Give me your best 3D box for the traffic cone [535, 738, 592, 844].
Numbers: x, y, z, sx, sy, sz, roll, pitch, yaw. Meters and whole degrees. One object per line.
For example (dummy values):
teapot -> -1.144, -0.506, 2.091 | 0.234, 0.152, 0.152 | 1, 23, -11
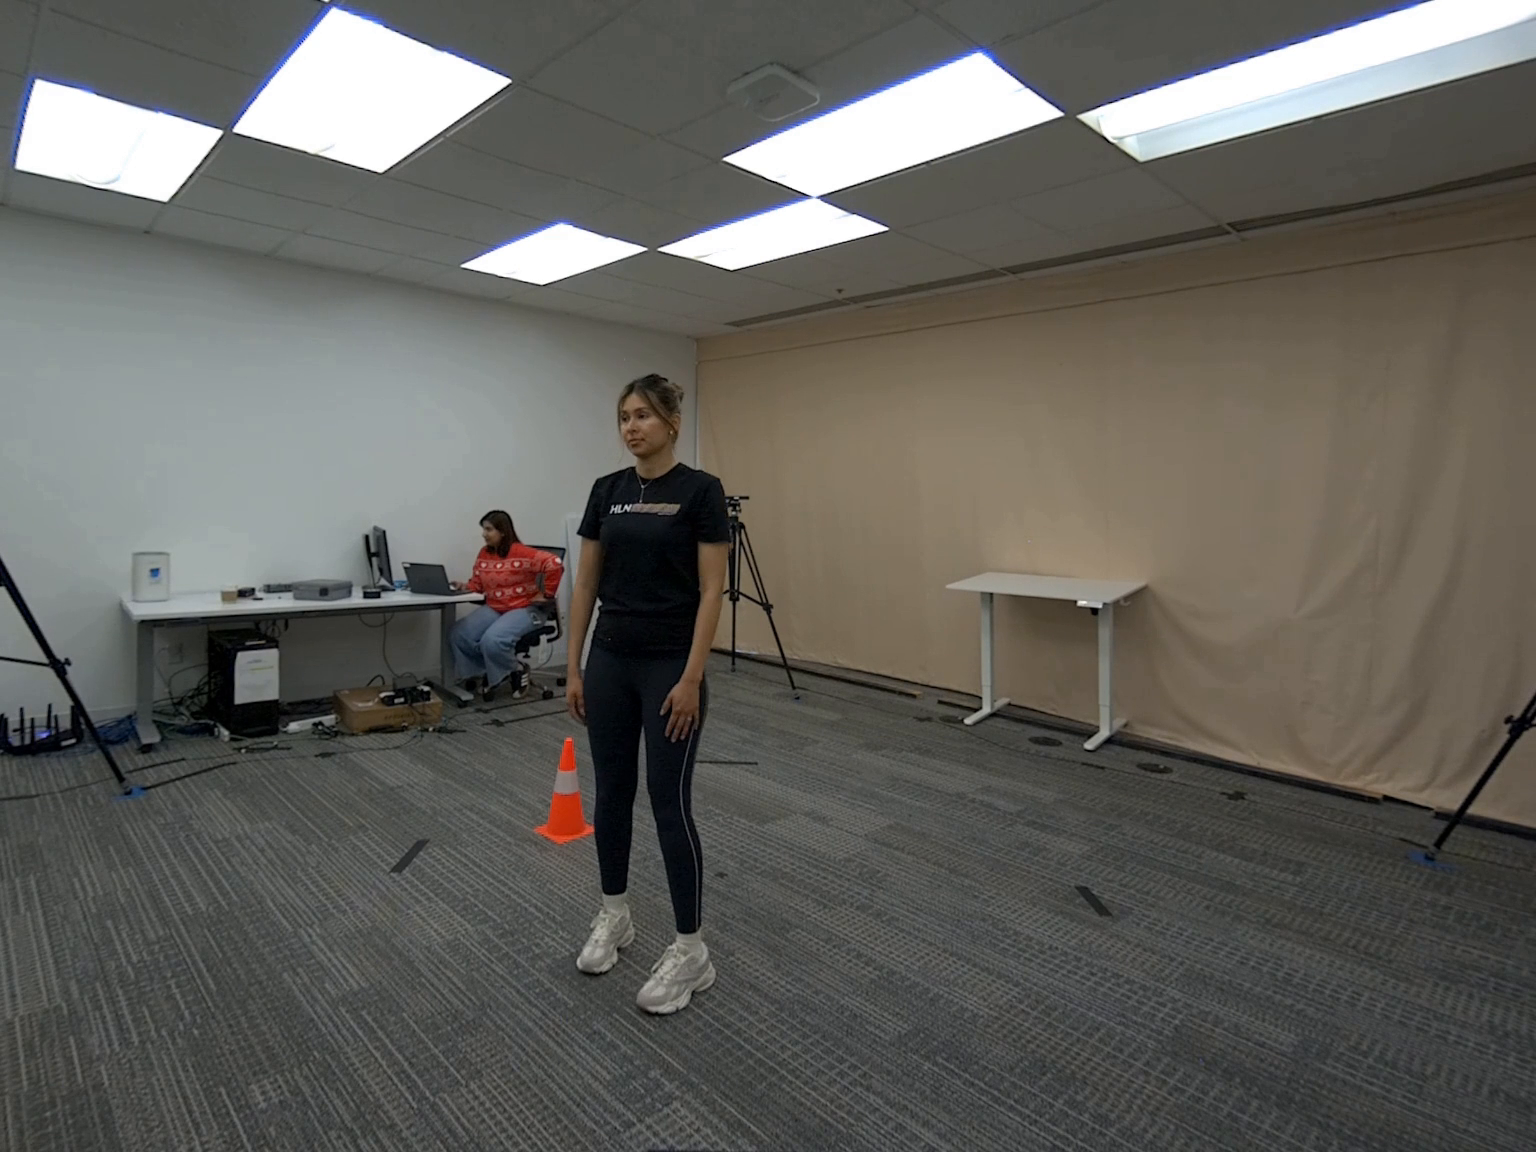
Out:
traffic cone -> -0.838, 0.866, 3.479 | 0.200, 0.383, 0.209 | 0, 5, -45
